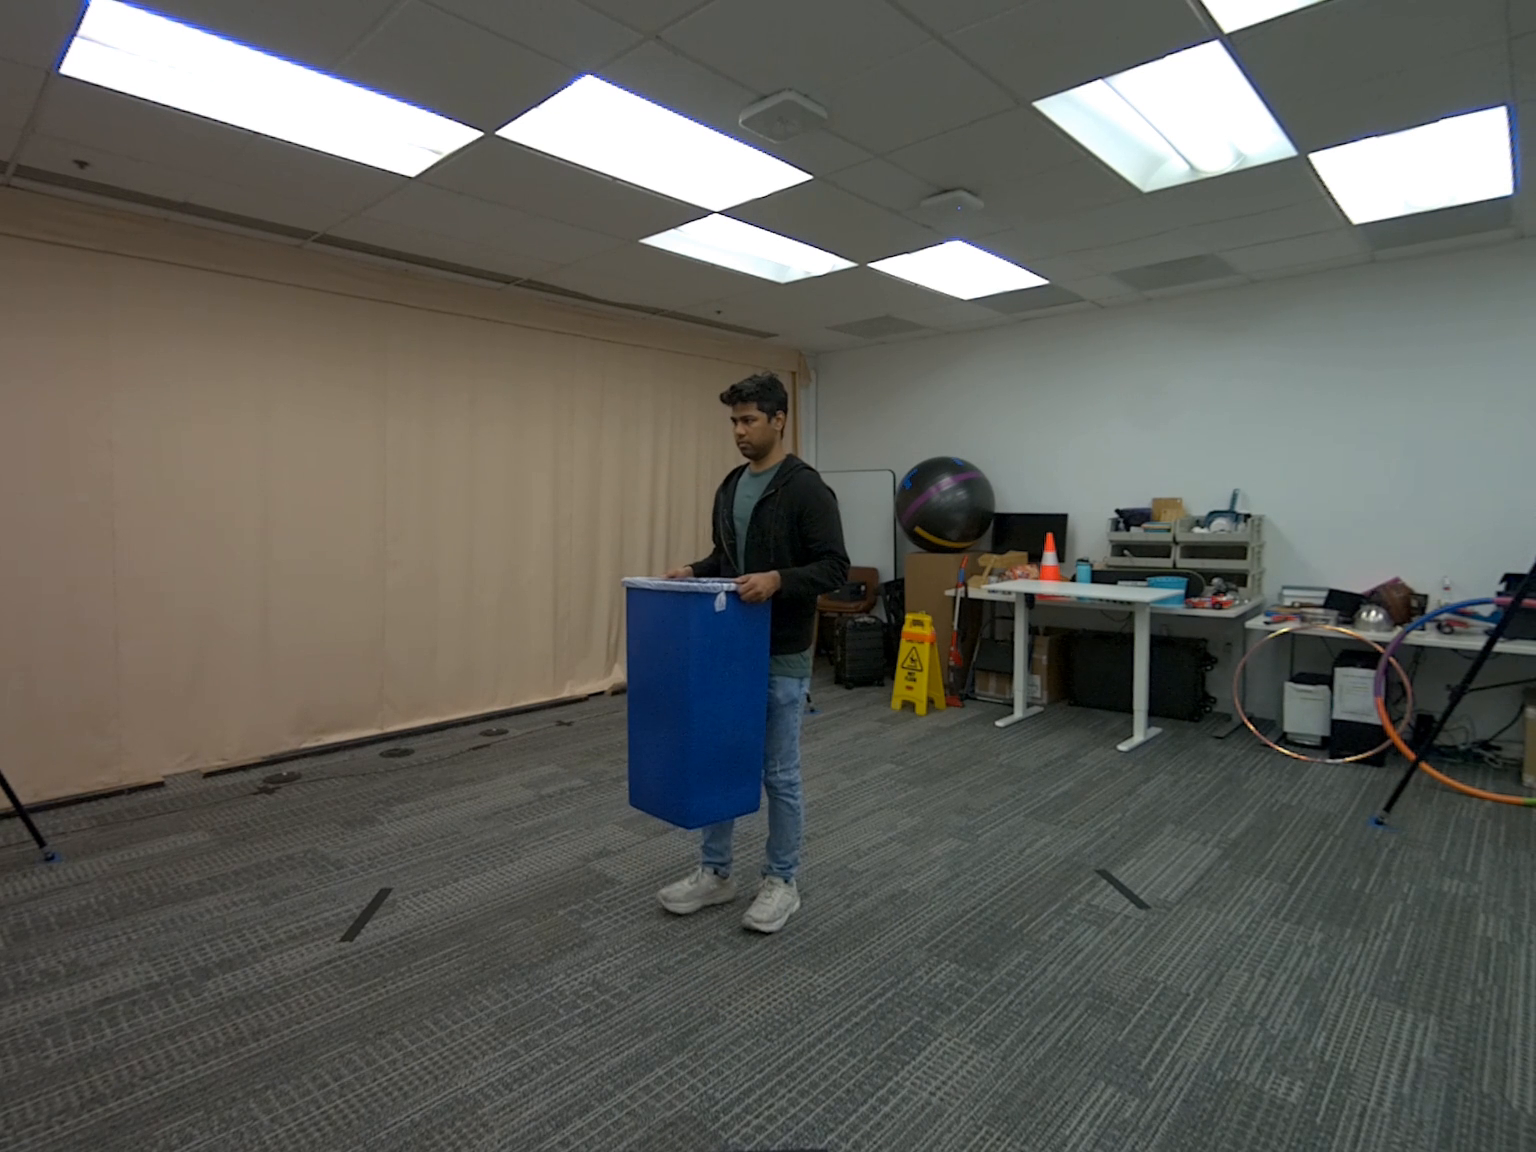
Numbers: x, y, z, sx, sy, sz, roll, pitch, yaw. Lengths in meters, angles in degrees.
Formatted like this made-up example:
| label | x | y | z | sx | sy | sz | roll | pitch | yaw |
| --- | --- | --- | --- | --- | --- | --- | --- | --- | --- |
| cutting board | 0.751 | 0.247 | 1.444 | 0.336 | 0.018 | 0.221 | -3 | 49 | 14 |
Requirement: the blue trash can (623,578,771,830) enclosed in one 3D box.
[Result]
| label | x | y | z | sx | sy | sz | roll | pitch | yaw |
| --- | --- | --- | --- | --- | --- | --- | --- | --- | --- |
| blue trash can | -0.232 | 0.374 | 2.639 | 0.366 | 0.713 | 0.386 | 1 | 1 | -44 |
